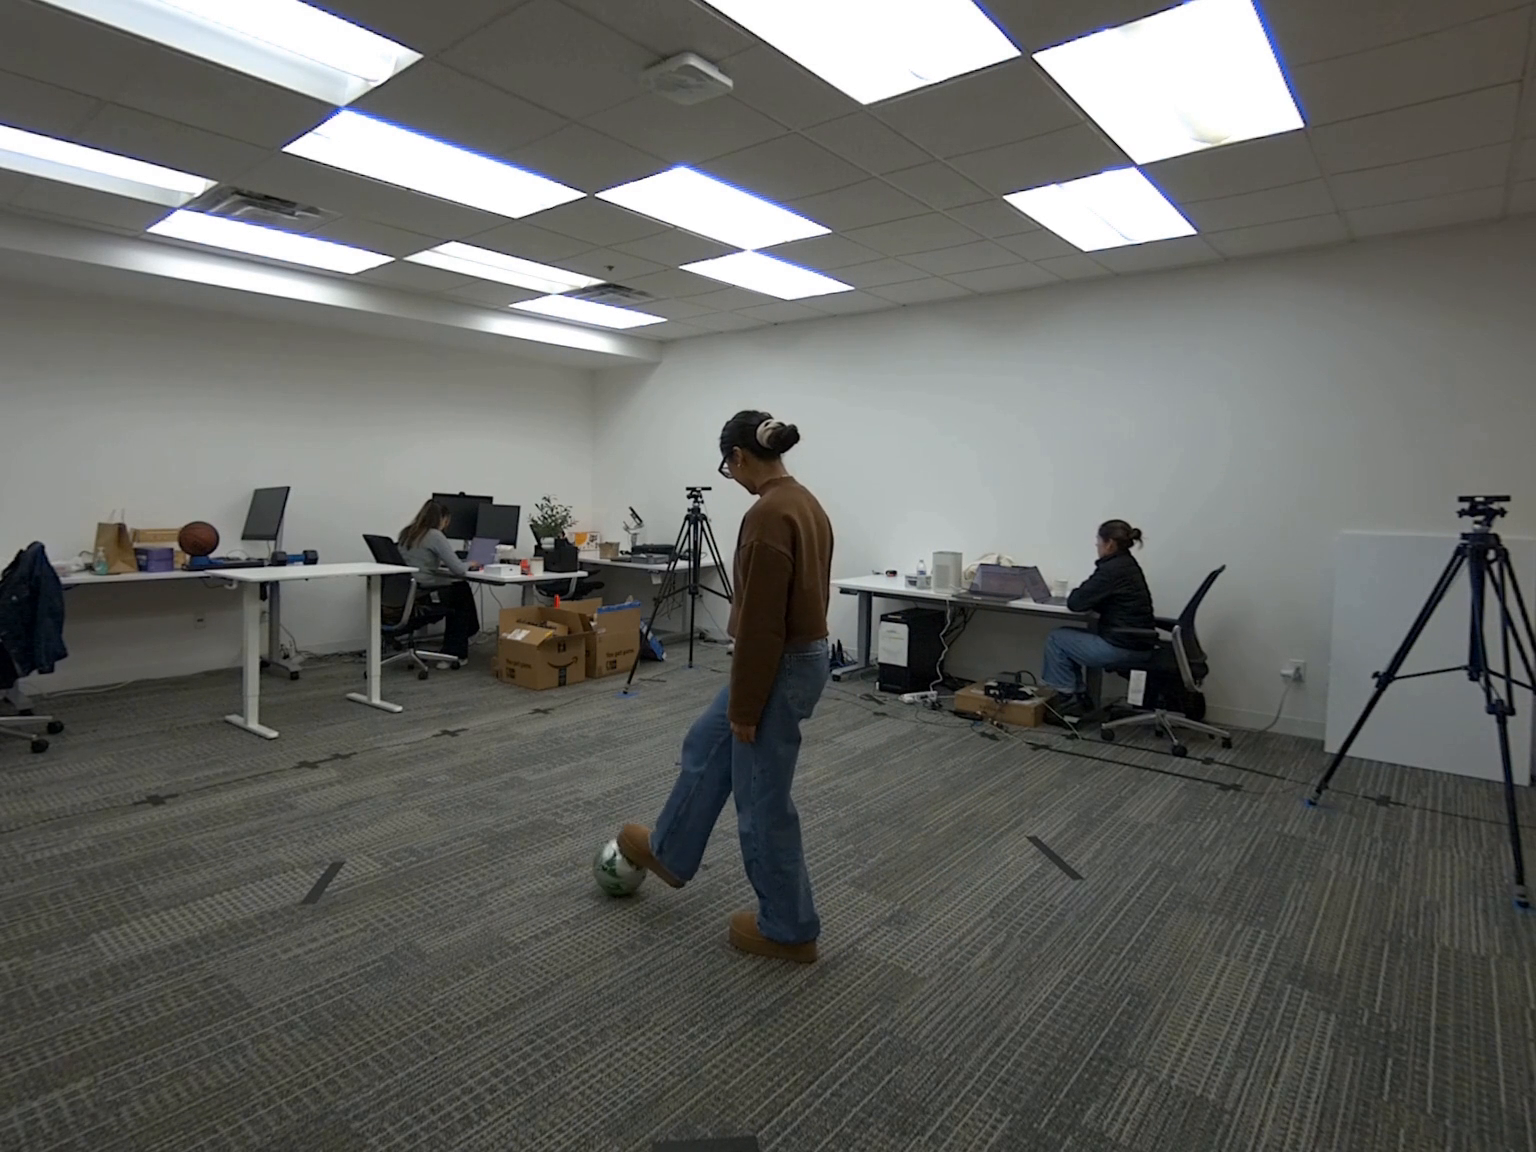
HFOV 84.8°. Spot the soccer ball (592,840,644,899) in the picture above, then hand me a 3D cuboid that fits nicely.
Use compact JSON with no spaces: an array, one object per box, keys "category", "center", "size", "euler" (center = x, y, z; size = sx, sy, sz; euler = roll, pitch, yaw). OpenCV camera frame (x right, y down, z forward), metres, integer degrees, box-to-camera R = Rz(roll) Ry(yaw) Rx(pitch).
[{"category":"soccer ball","center":[-0.506,0.988,2.908],"size":[0.187,0.187,0.188],"euler":[1,4,-2]}]
